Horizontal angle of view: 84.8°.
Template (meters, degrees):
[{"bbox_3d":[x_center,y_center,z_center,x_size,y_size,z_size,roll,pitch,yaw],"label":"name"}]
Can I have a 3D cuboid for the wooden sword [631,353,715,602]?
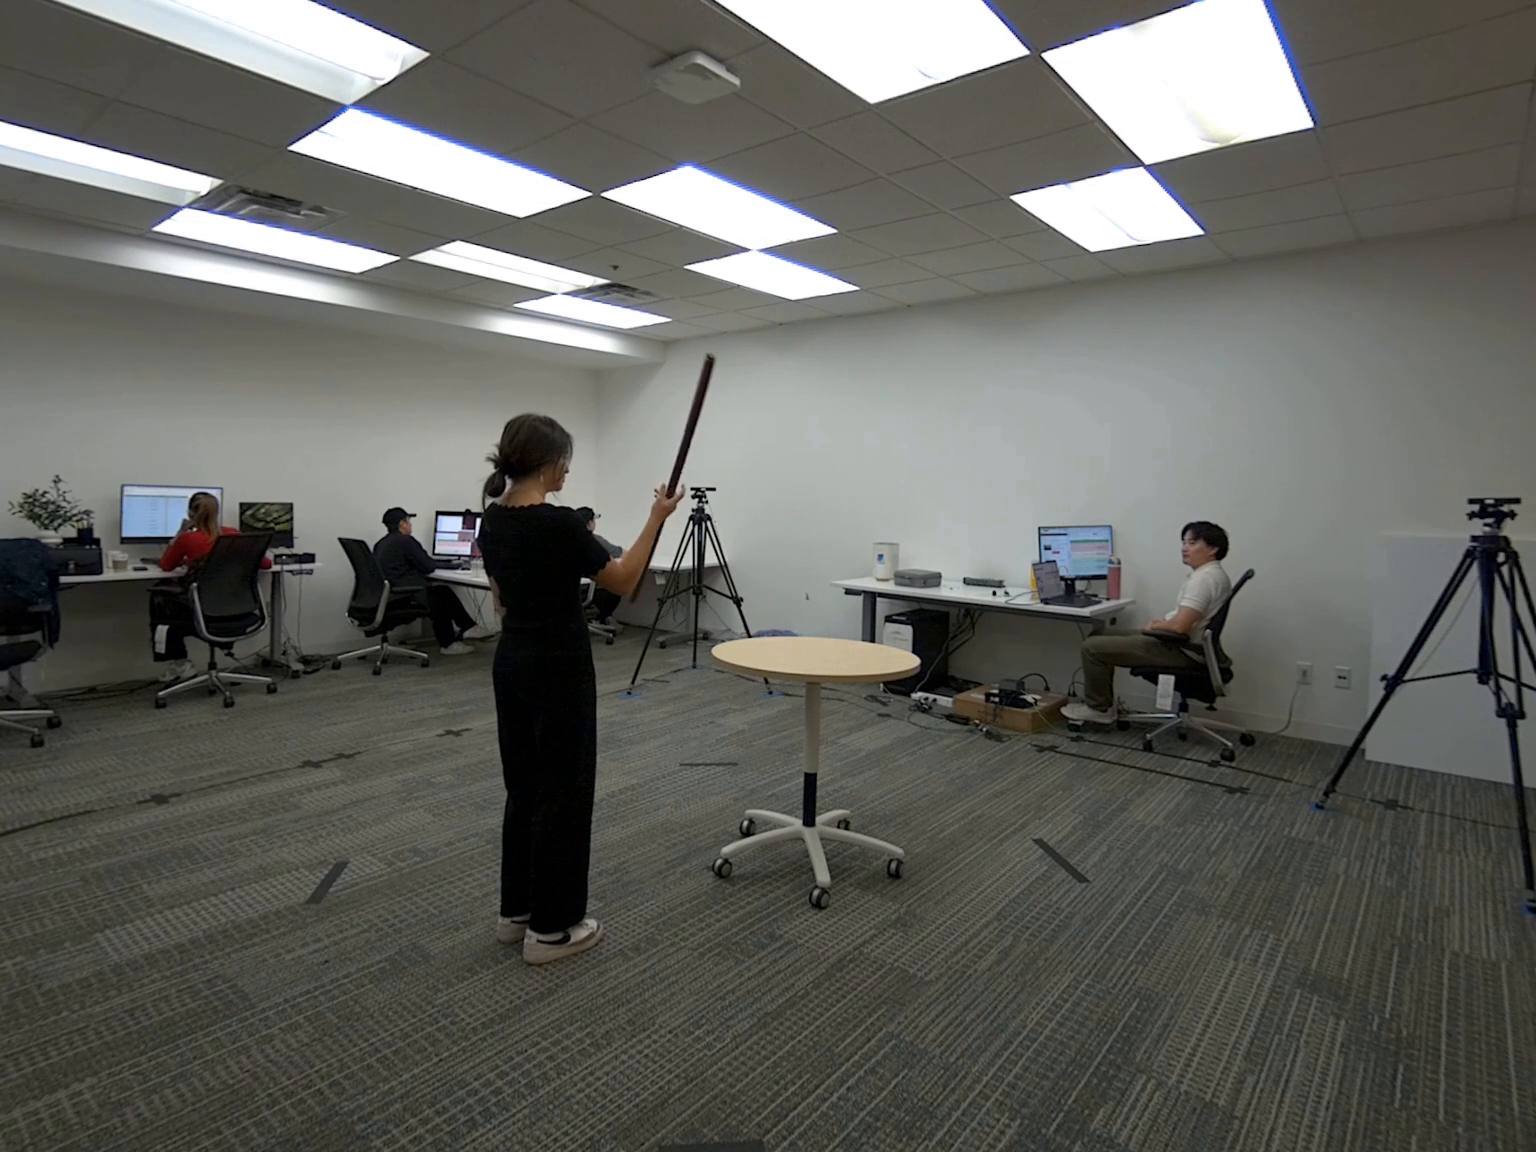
[{"bbox_3d":[-0.329,-0.251,2.684,0.051,1.008,0.024,24,37,4],"label":"wooden sword"}]
